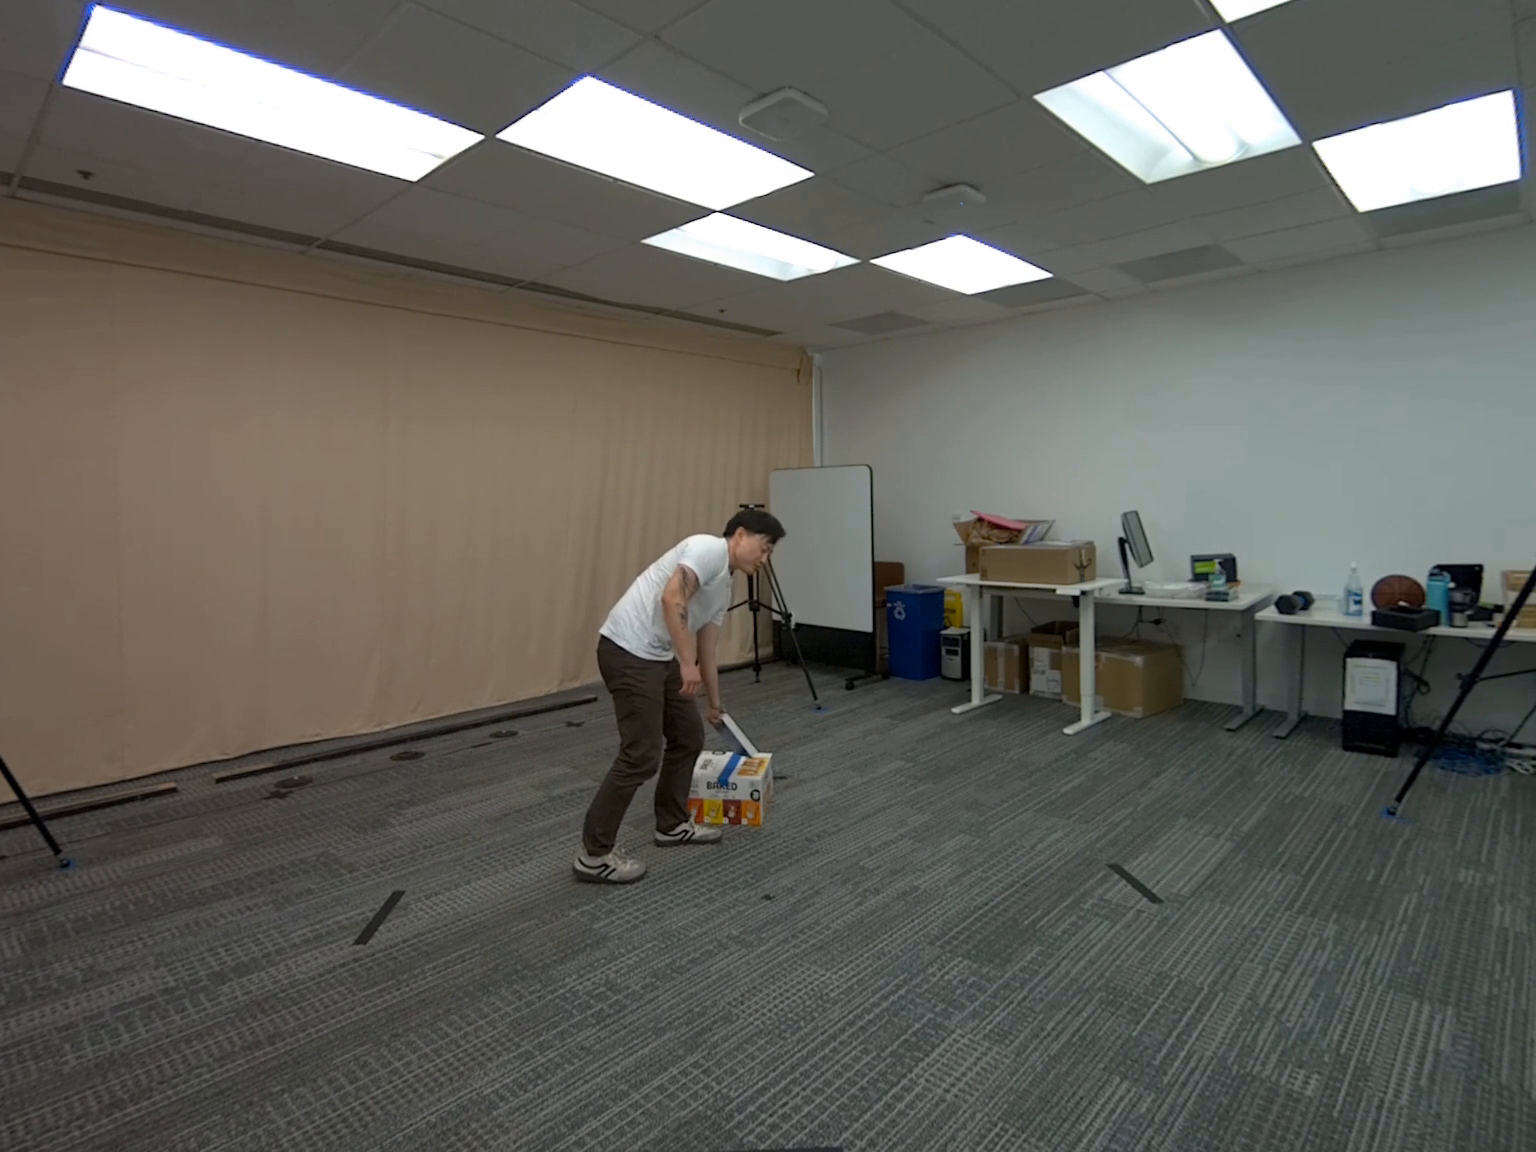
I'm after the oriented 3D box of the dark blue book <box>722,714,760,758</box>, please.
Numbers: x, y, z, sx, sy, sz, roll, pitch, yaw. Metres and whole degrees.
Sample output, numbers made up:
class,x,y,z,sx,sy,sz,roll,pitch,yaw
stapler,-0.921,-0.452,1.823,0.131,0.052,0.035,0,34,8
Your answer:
class,x,y,z,sx,sy,sz,roll,pitch,yaw
dark blue book,-0.157,0.706,3.767,0.045,0.241,0.167,-43,17,-23
